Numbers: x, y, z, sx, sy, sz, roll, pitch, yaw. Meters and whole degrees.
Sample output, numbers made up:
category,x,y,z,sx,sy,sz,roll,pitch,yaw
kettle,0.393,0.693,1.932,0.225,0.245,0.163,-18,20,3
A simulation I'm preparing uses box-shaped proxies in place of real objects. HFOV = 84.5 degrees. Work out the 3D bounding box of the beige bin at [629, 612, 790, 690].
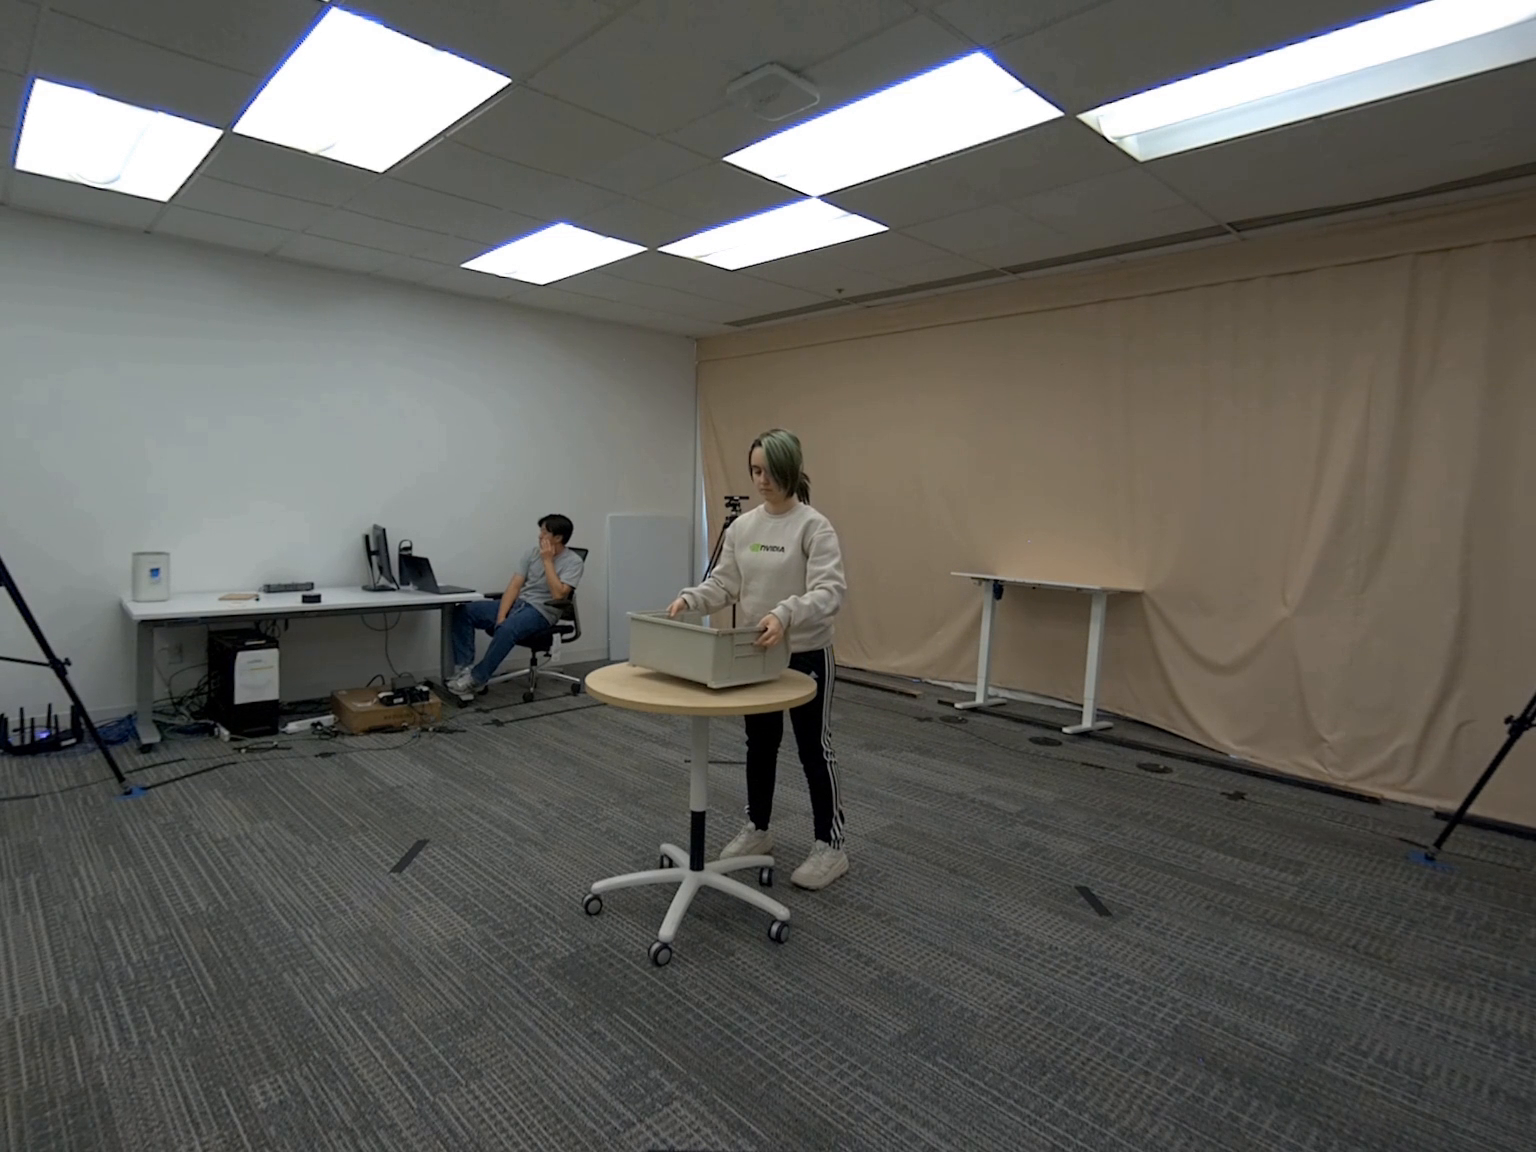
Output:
category,x,y,z,sx,sy,sz,roll,pitch,yaw
beige bin,-0.204,0.230,2.812,0.433,0.188,0.369,8,7,41
